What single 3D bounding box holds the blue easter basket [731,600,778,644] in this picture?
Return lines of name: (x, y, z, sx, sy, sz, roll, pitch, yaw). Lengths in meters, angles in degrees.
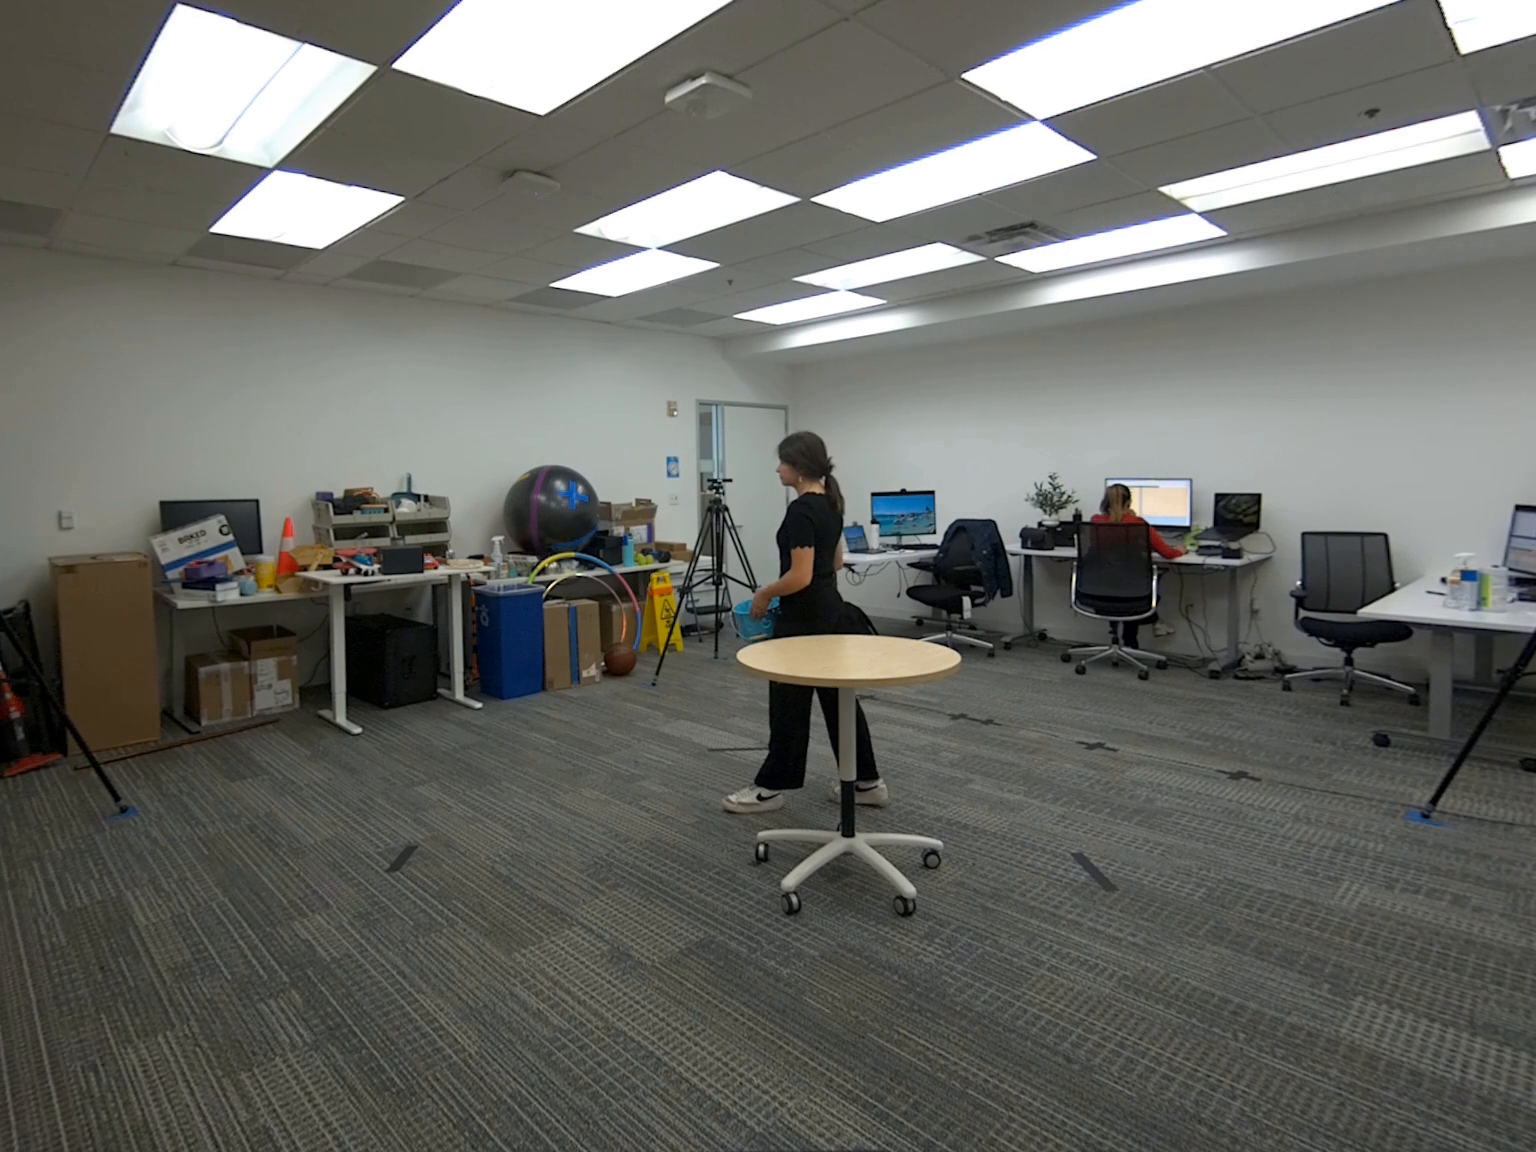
blue easter basket: (-0.031, 0.200, 3.744, 0.244, 0.154, 0.246, -11, 11, 0)
